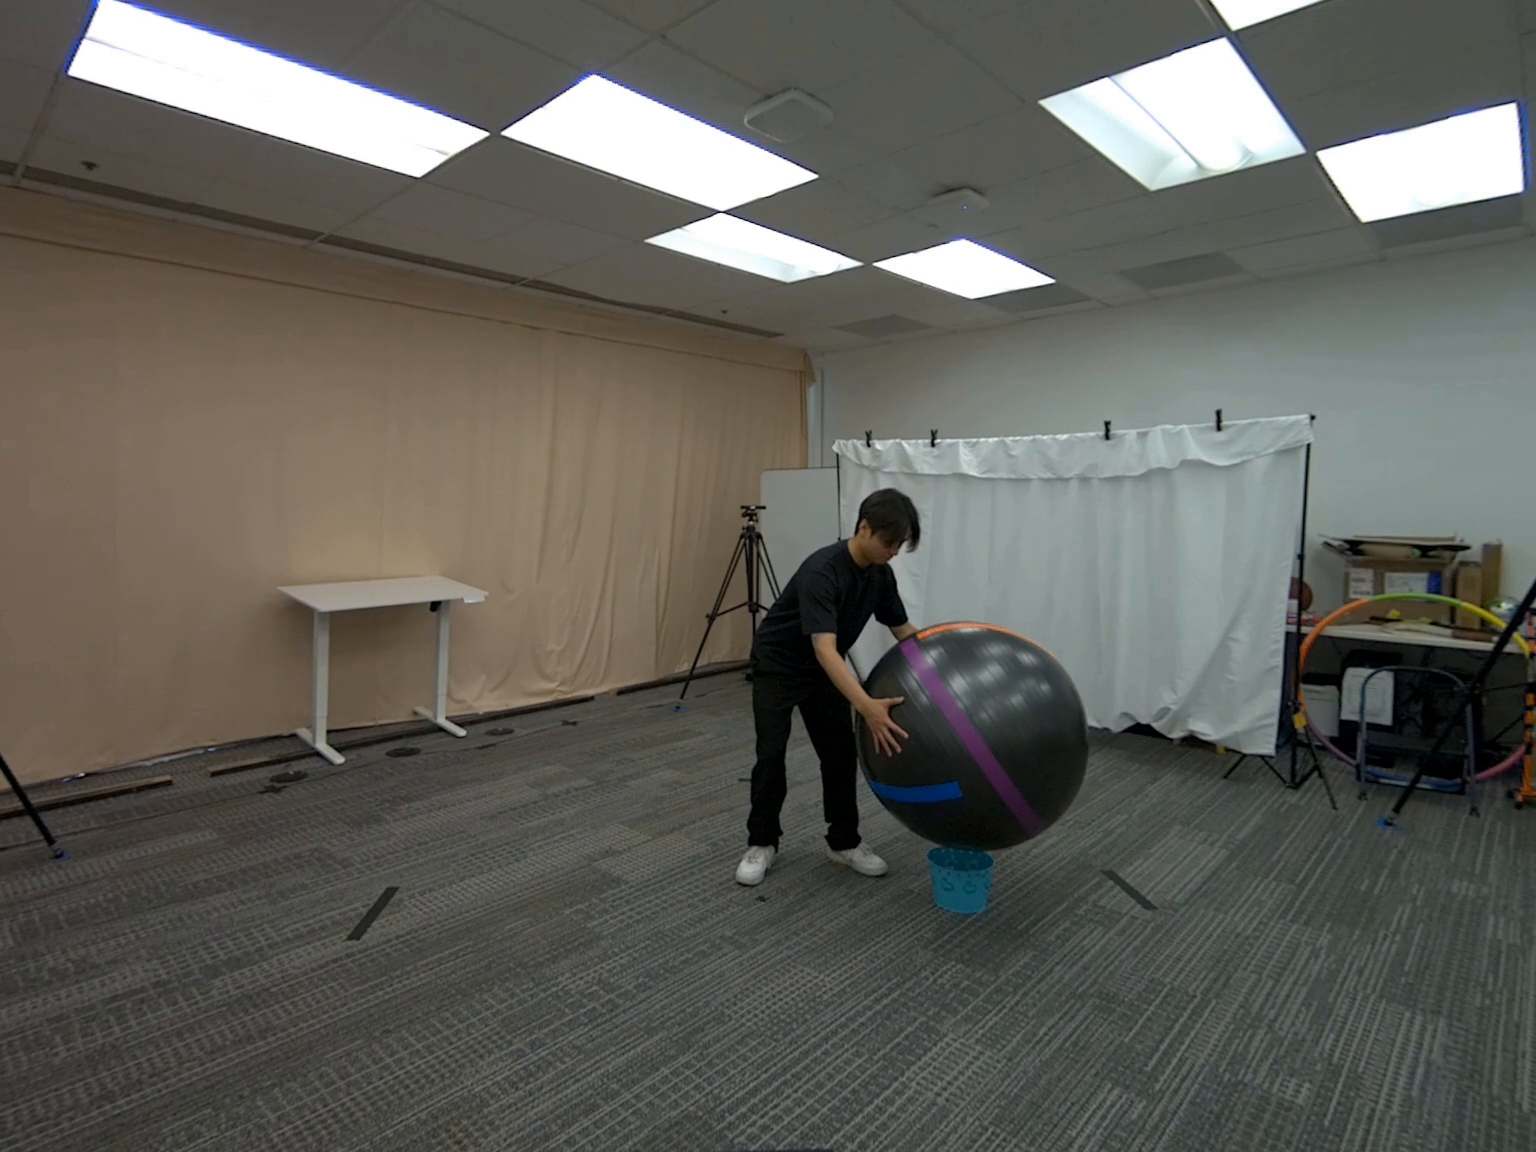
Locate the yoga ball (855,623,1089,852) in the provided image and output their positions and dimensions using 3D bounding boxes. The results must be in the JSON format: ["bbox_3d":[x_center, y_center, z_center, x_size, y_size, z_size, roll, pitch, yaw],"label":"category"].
[{"bbox_3d":[0.689,0.551,2.862,0.757,0.756,0.760,0,4,-2],"label":"yoga ball"}]
